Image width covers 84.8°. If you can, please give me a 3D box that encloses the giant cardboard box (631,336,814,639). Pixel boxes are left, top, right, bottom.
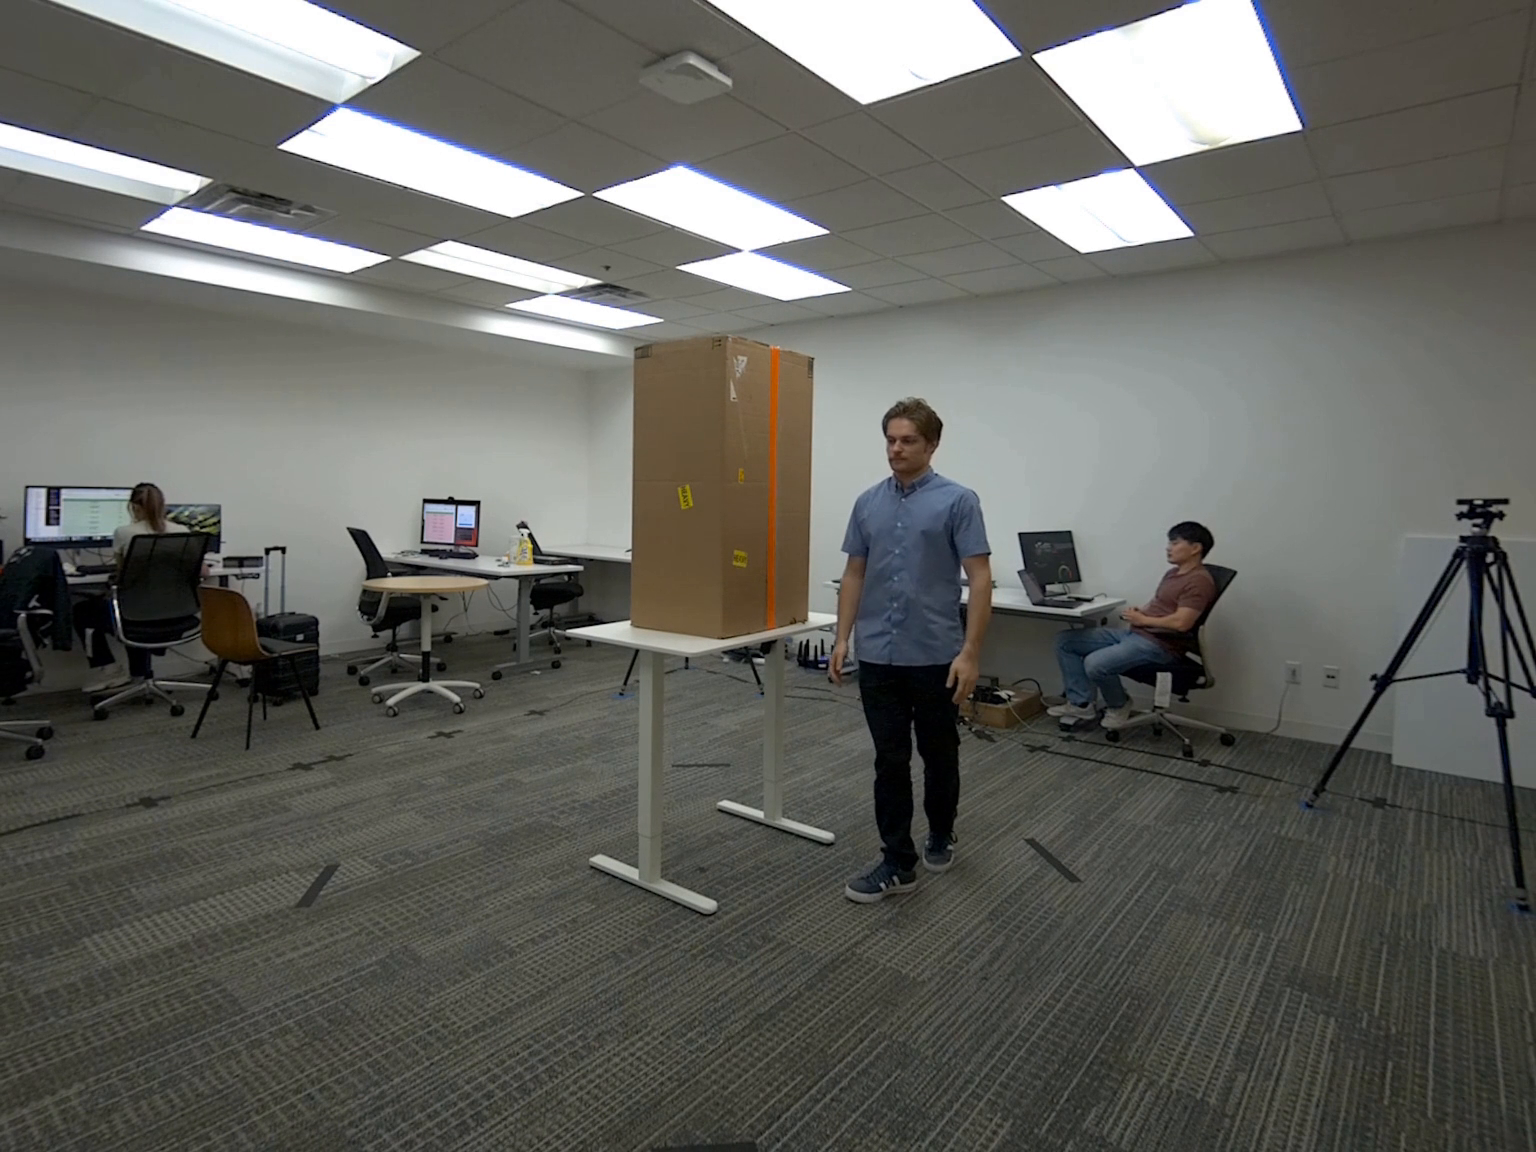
[{"bbox_3d":[-0.170,-0.328,3.189,0.440,1.023,0.561,3,3,36],"label":"giant cardboard box"}]
